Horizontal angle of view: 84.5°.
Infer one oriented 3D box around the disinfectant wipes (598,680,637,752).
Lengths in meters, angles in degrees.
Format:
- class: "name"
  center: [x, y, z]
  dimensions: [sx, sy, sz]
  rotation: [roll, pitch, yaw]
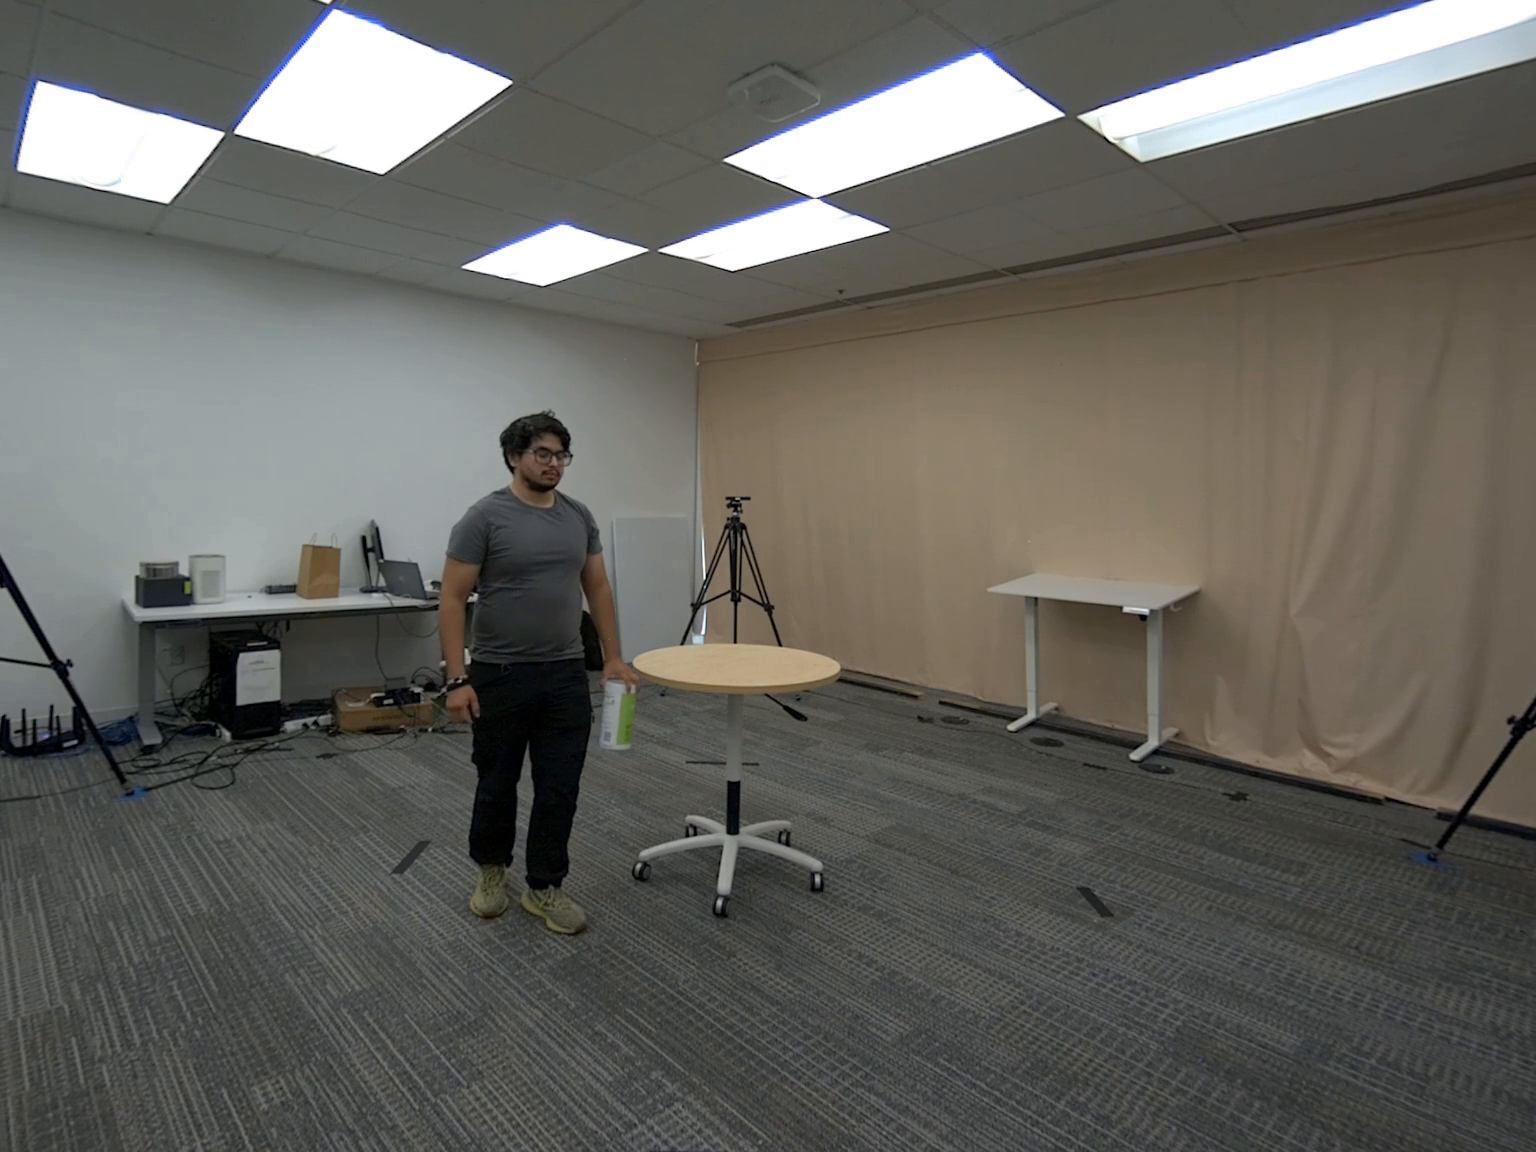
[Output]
- class: "disinfectant wipes"
  center: [-0.497, 0.455, 2.764]
  dimensions: [0.118, 0.218, 0.118]
  rotation: [5, -1, -1]
